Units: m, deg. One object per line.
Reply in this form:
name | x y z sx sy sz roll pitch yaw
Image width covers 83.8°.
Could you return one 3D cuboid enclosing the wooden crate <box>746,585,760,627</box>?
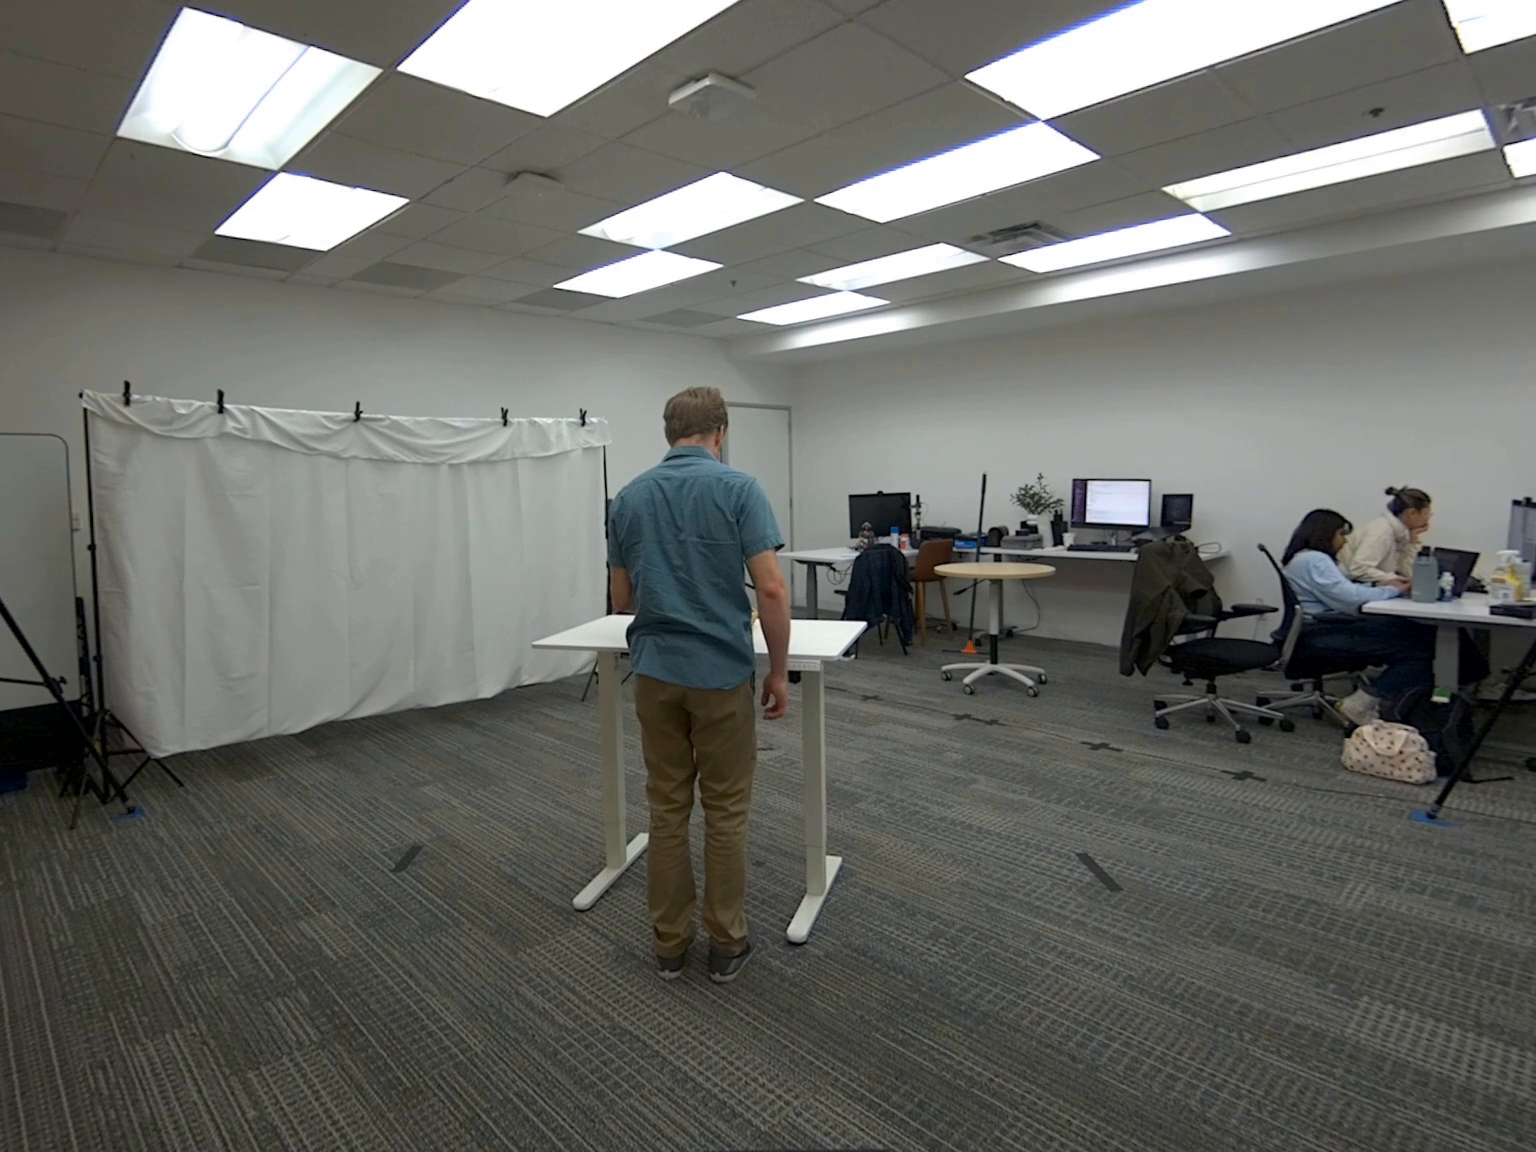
wooden crate | -0.221 0.044 2.933 0.309 0.273 0.317 -1 2 29
